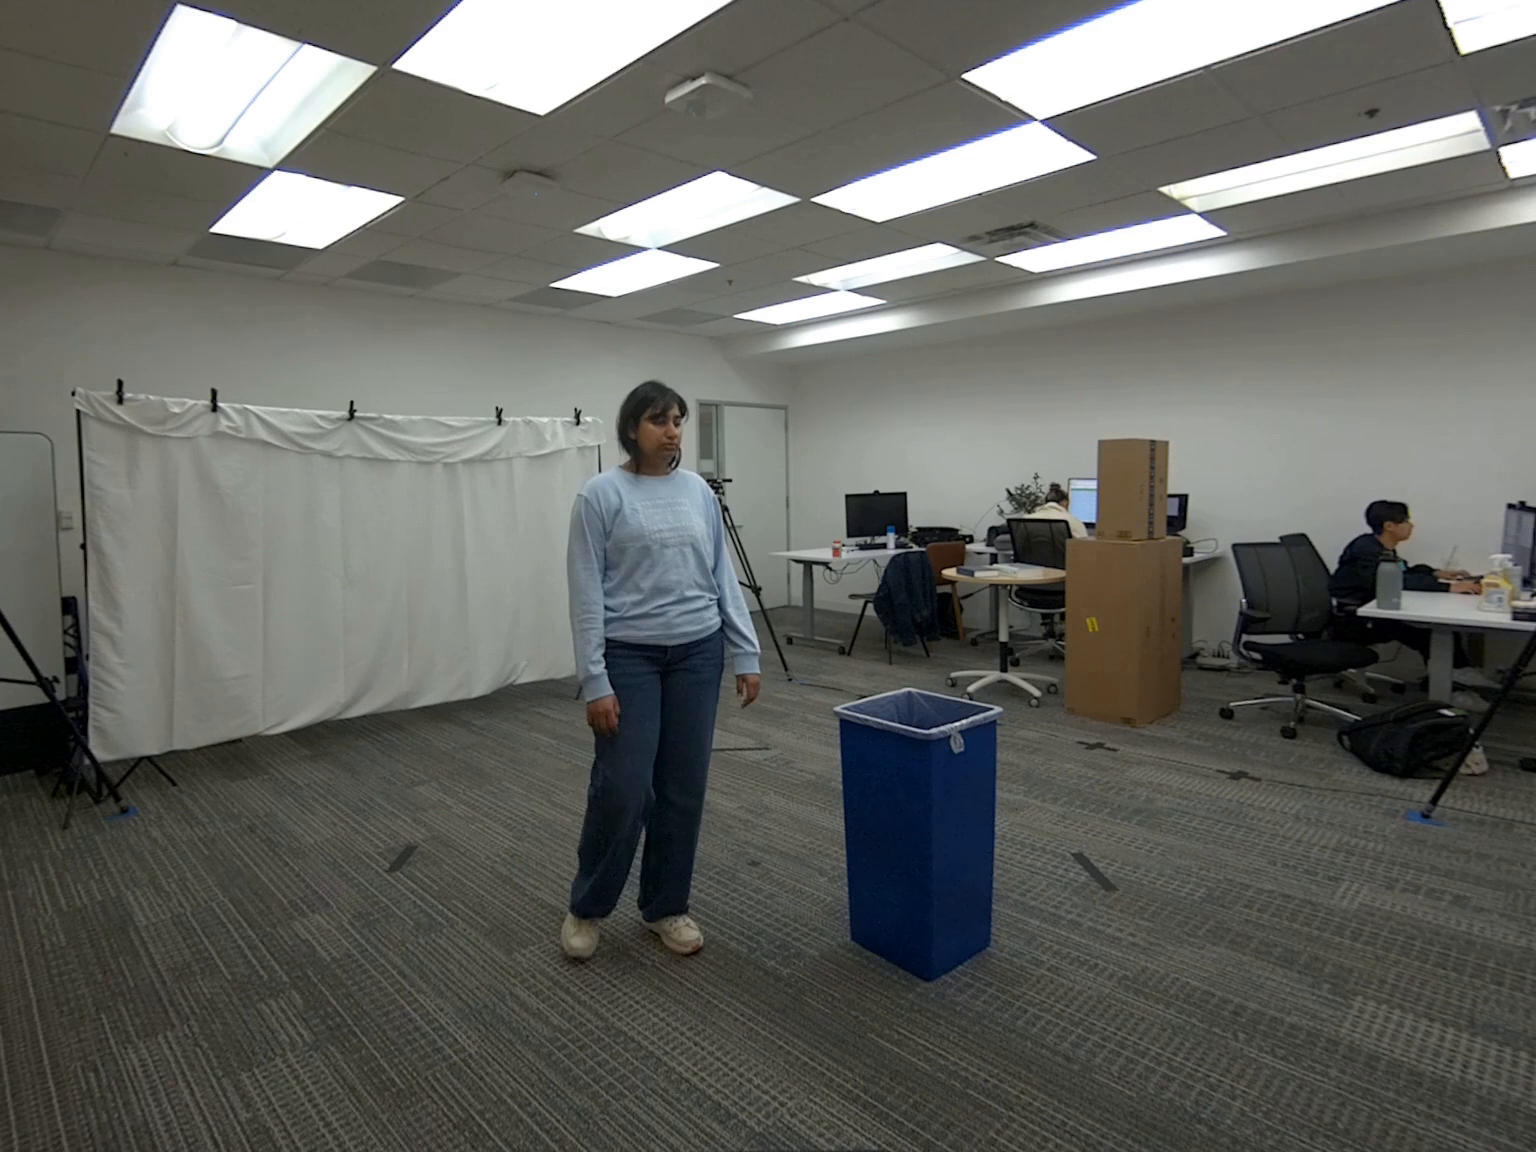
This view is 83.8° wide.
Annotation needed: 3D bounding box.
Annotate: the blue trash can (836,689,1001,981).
[{"bbox_3d":[0.452,0.742,2.553,0.364,0.711,0.389,-5,4,-40],"label":"blue trash can"}]
